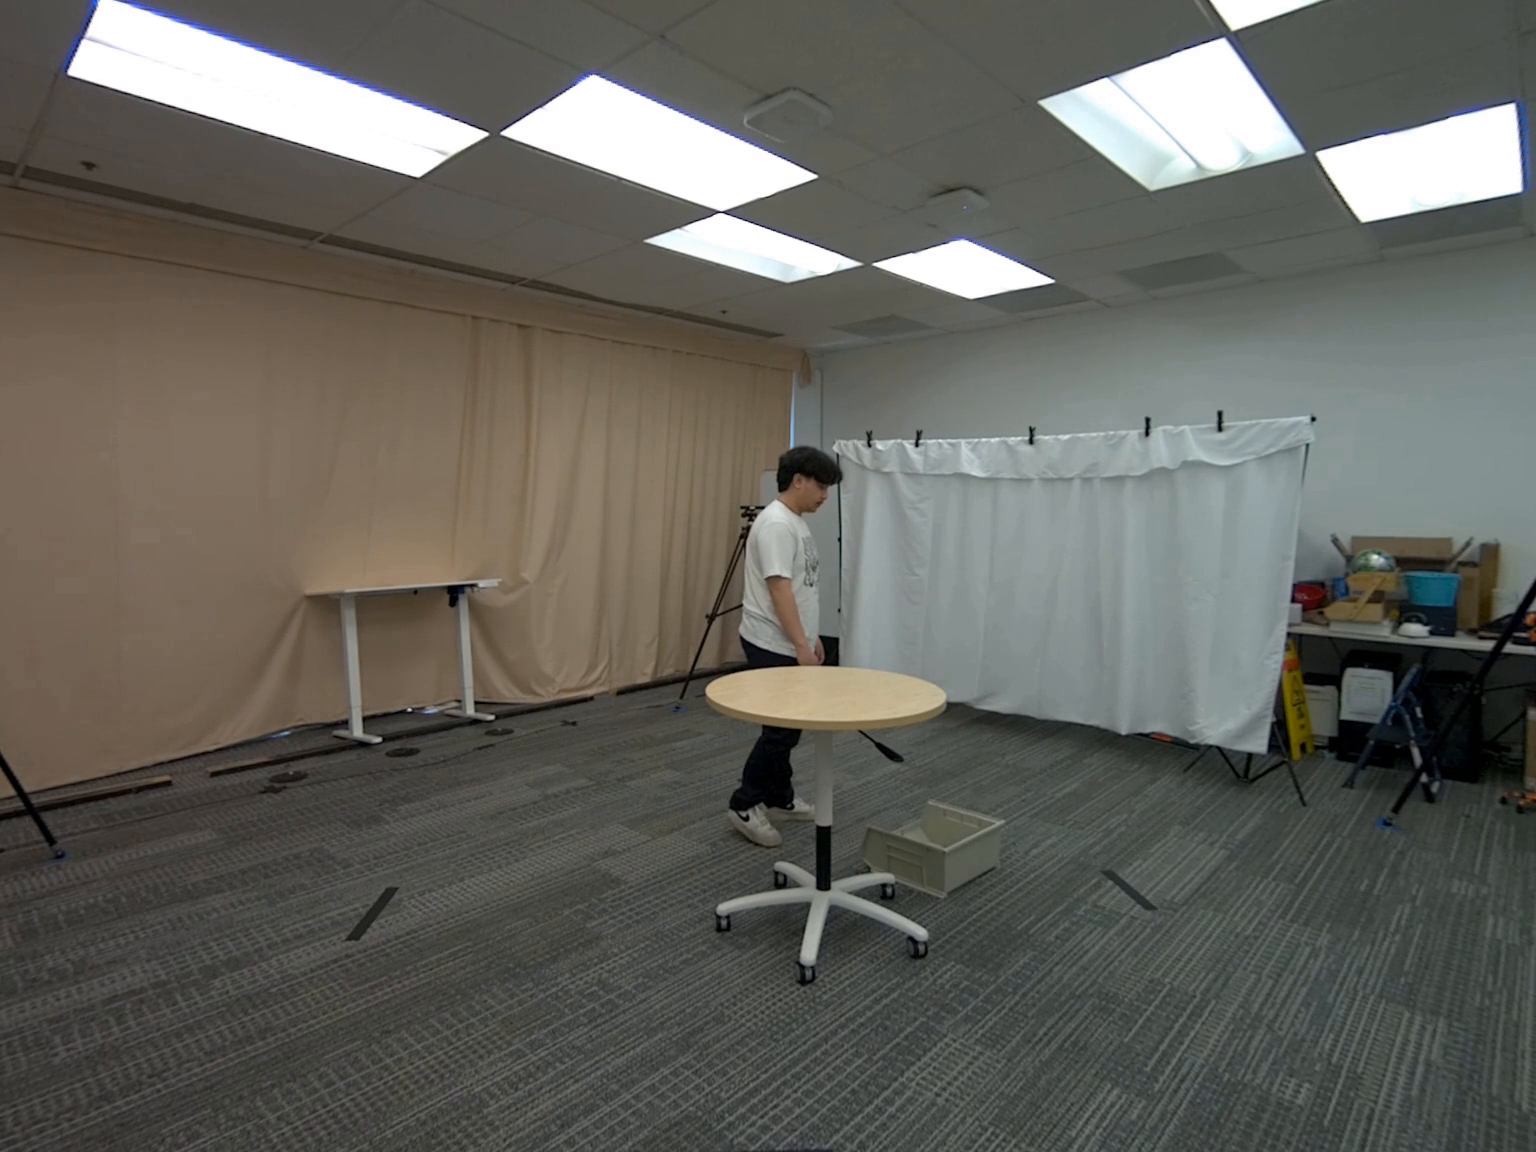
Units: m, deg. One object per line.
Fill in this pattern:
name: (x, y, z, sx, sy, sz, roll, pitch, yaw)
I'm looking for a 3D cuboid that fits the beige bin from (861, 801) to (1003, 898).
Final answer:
beige bin: (0.635, 1.034, 3.235, 0.390, 0.188, 0.409, 6, 7, 45)
